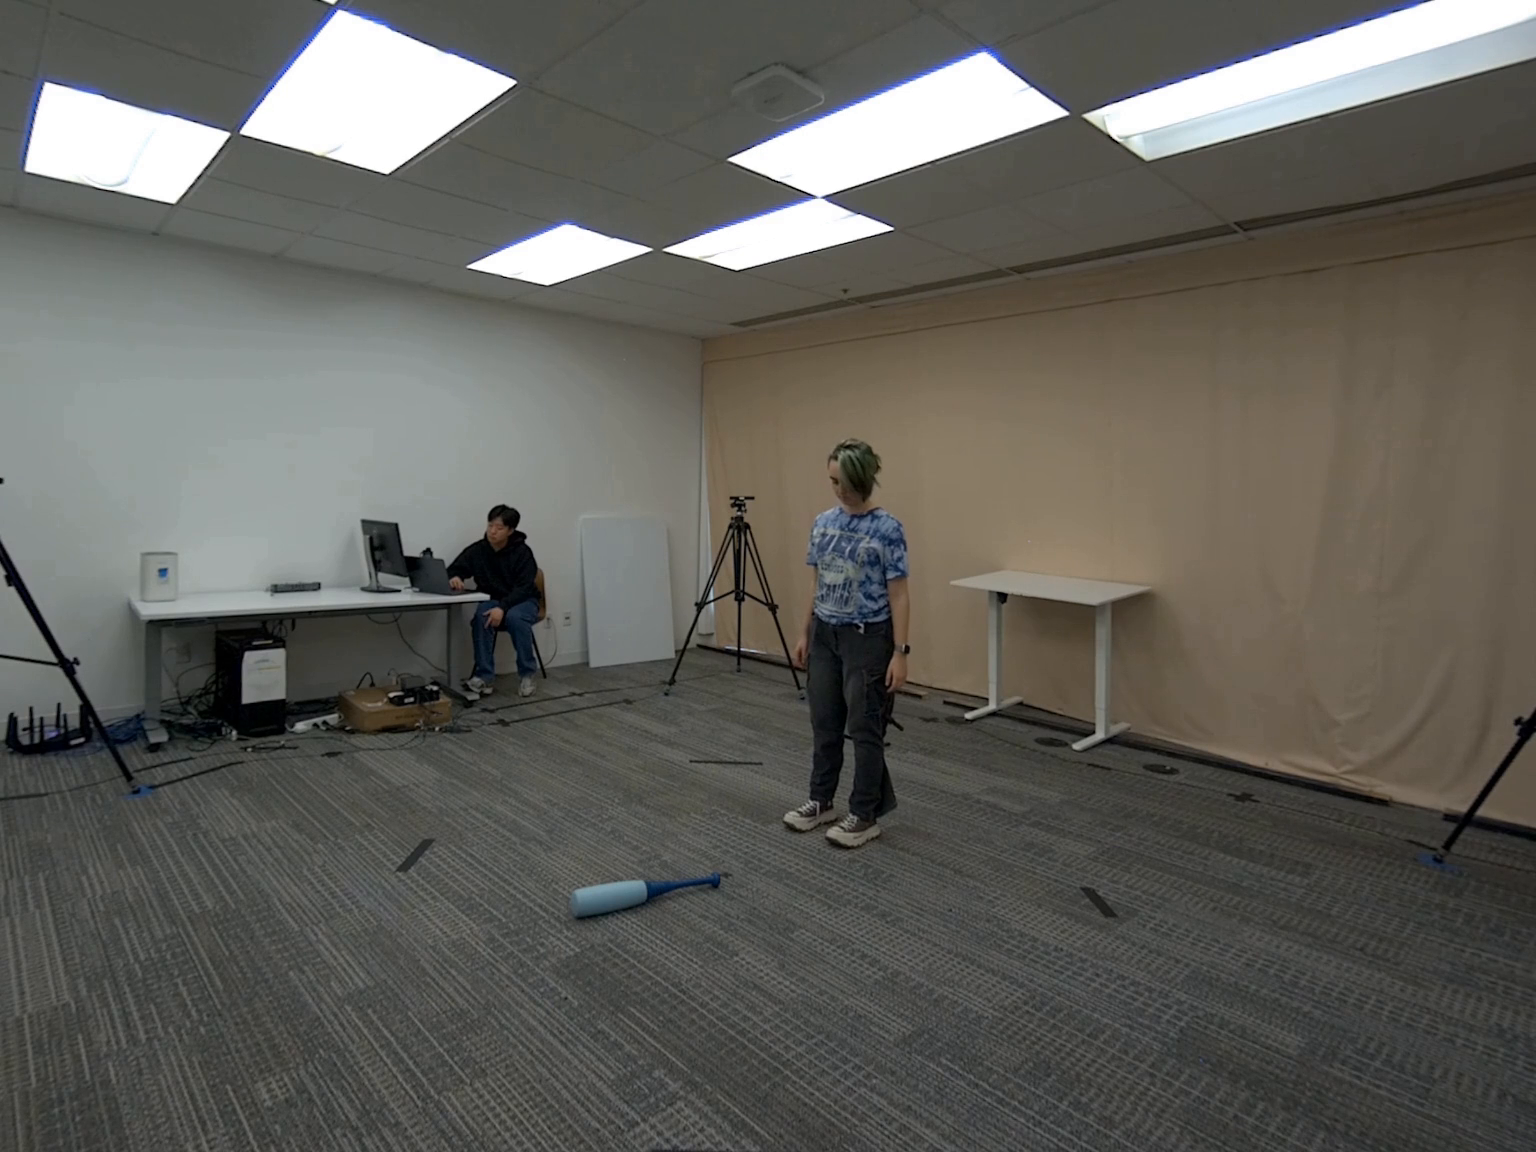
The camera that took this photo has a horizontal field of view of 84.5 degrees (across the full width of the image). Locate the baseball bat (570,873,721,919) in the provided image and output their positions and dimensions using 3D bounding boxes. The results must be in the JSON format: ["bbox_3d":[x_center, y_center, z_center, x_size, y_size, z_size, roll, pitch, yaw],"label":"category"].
[{"bbox_3d":[-0.415,1.086,2.885,0.532,0.089,0.091,2,3,-29],"label":"baseball bat"}]
